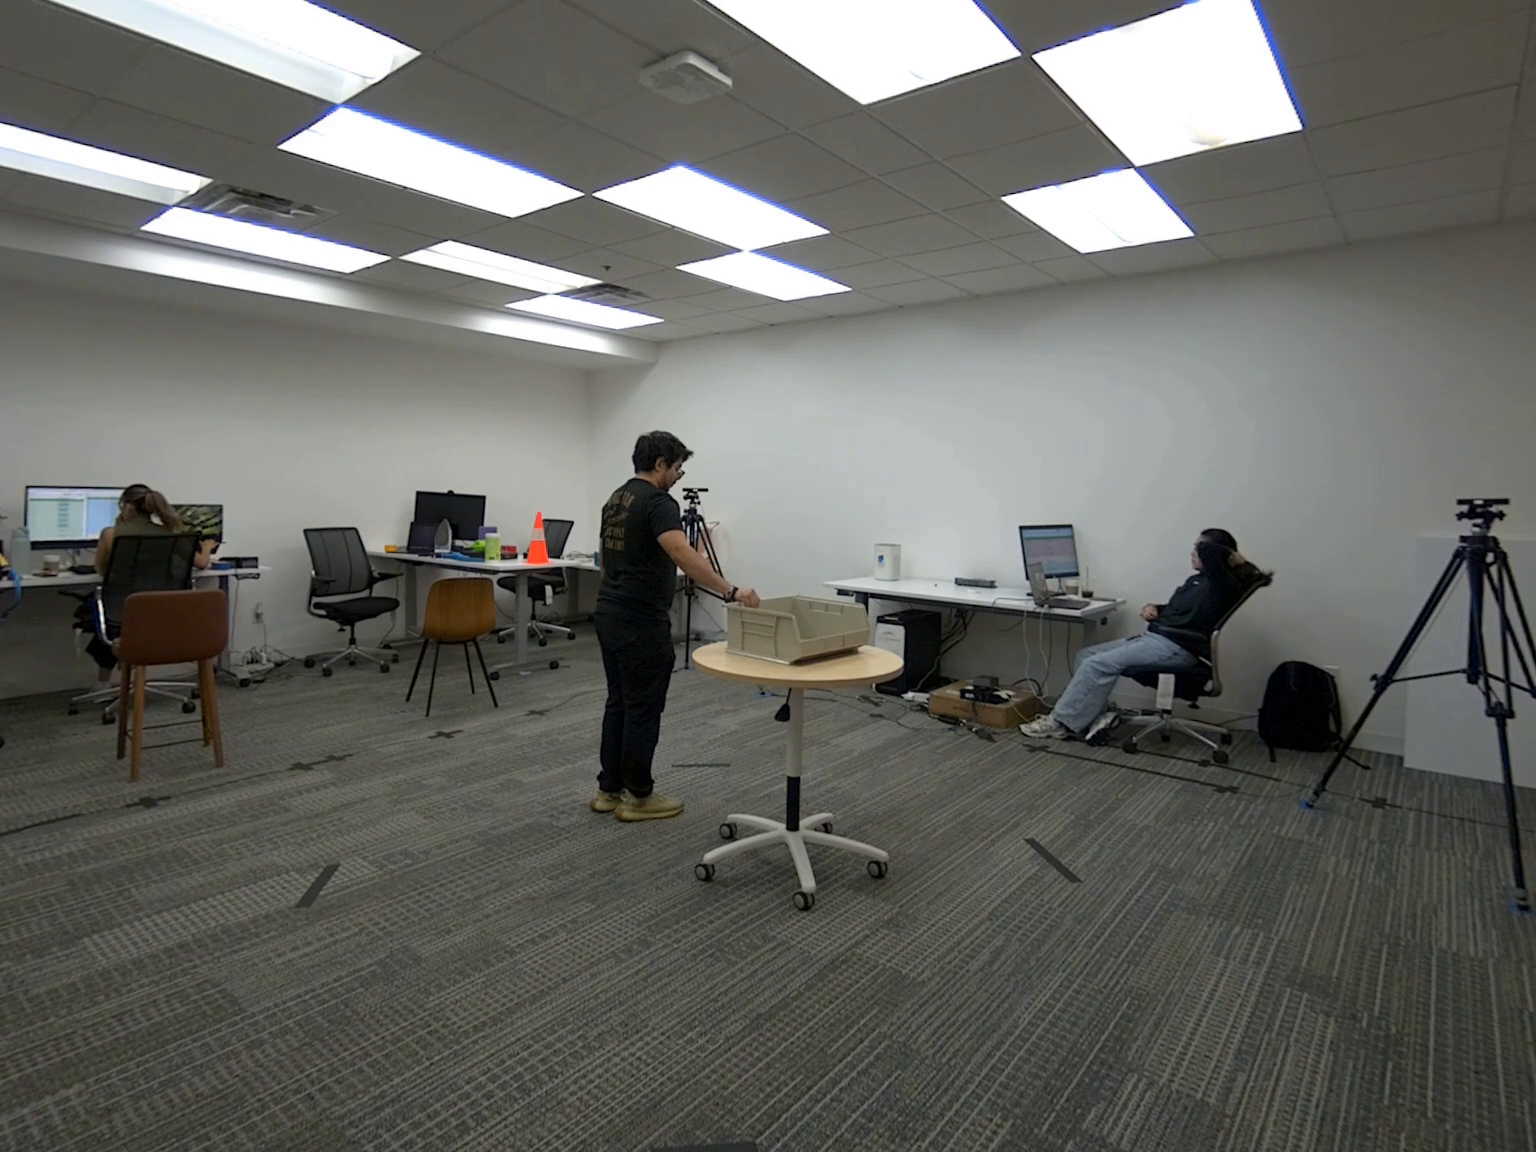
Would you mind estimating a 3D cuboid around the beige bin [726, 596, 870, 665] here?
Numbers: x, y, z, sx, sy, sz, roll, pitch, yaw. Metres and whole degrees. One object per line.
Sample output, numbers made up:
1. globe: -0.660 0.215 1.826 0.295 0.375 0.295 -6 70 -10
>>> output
1. beige bin: 0.105 0.193 3.183 0.390 0.188 0.410 5 8 43
